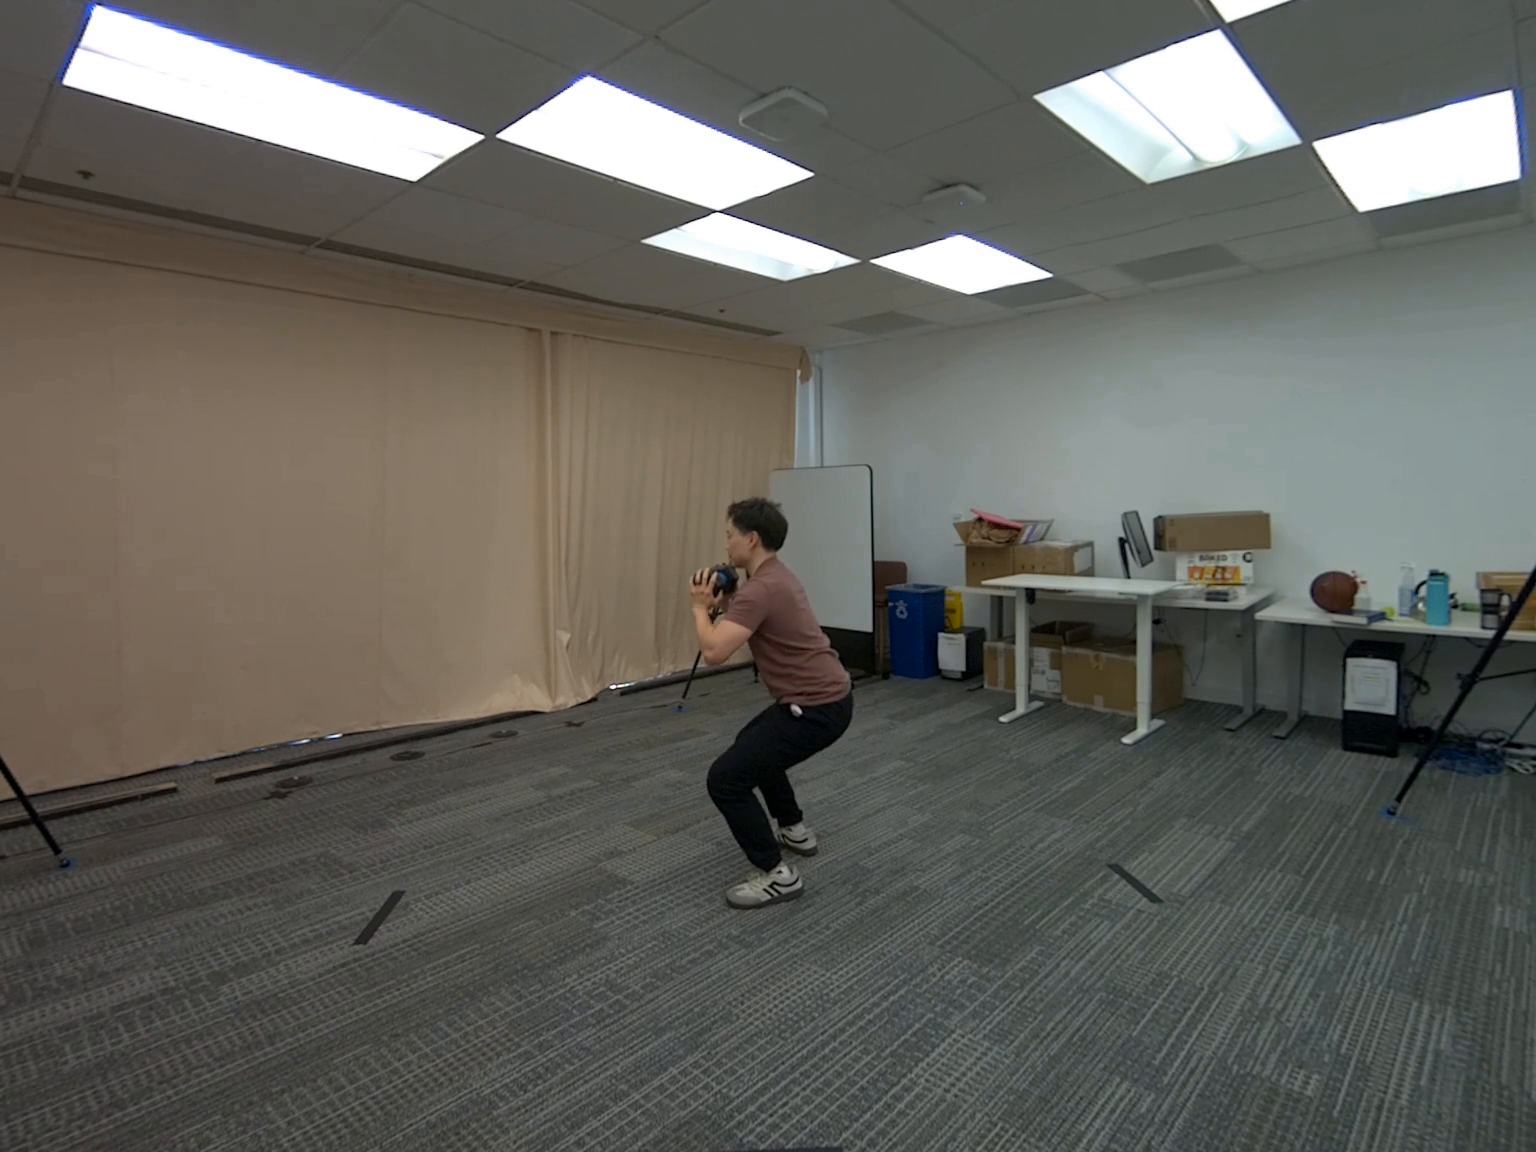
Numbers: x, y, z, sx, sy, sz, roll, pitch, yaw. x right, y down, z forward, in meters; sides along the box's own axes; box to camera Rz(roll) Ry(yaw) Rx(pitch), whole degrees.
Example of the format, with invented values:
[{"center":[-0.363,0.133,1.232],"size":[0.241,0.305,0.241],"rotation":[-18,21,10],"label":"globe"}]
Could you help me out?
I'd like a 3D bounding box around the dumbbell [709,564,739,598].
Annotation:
[{"center":[-0.195,0.032,3.212],"size":[0.125,0.108,0.291],"rotation":[-7,8,14],"label":"dumbbell"}]
